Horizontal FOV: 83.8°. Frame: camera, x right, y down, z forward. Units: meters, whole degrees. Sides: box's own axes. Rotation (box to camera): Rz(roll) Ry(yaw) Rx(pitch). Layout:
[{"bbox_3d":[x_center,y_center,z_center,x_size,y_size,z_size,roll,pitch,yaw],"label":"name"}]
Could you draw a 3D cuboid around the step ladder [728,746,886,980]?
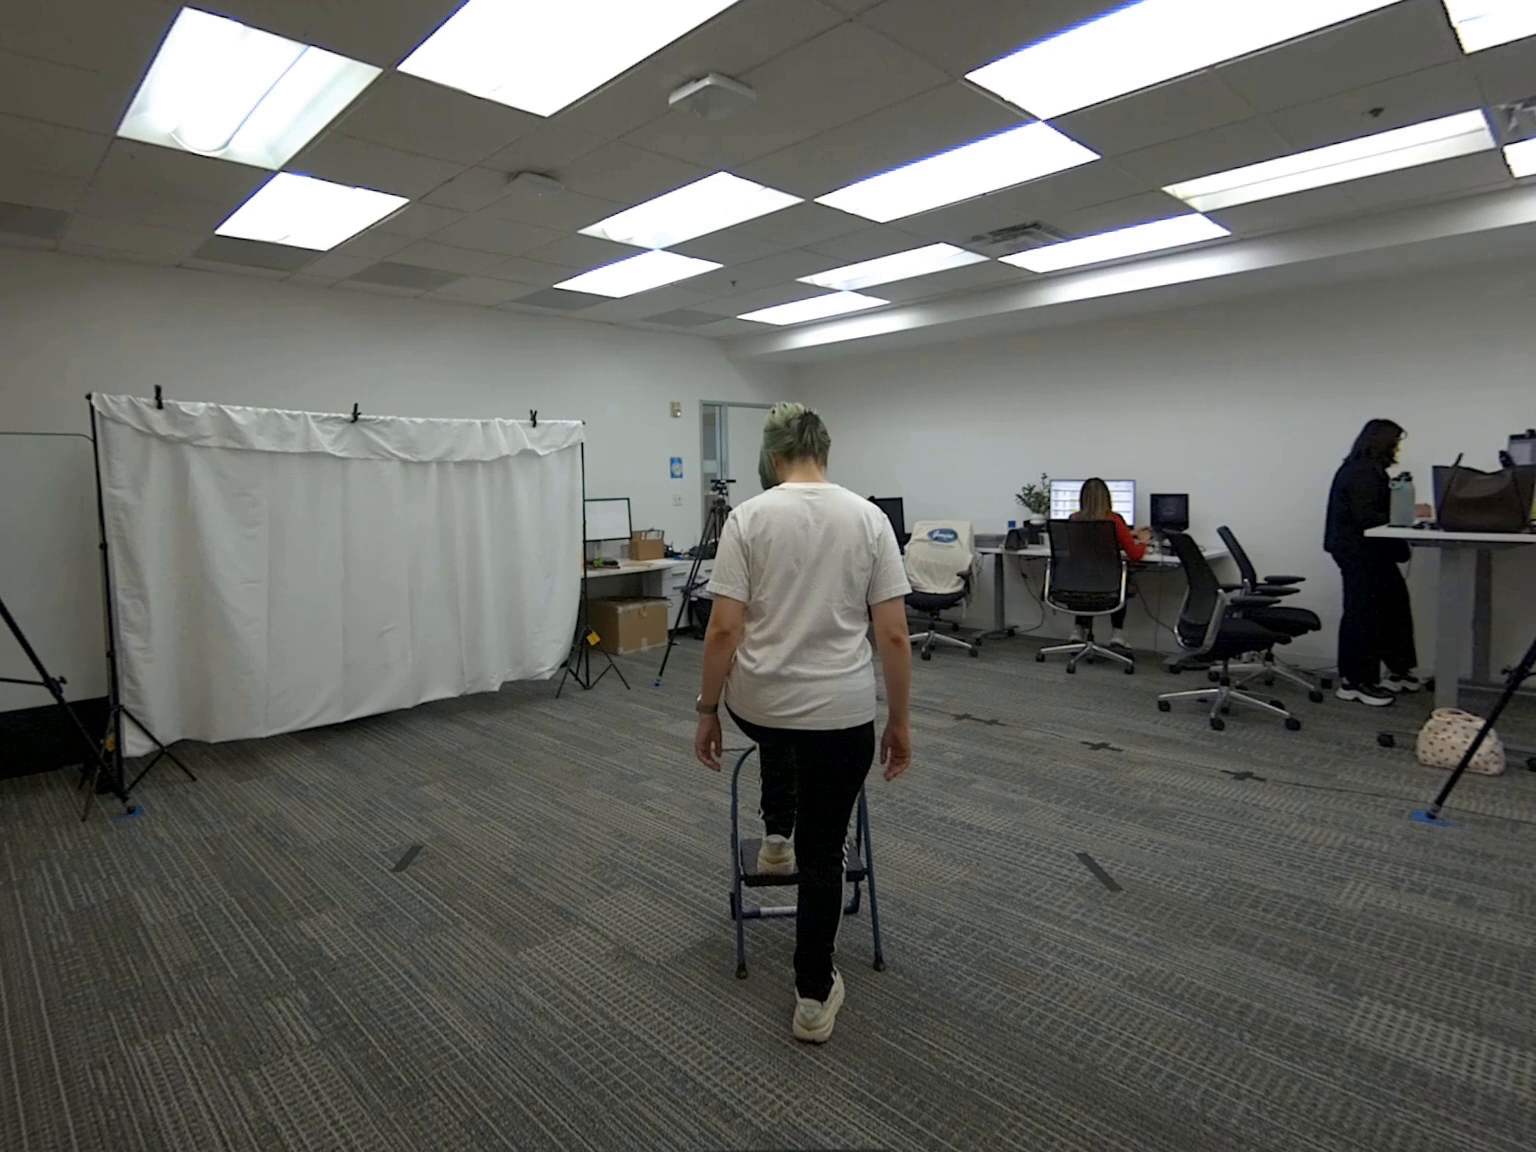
[{"bbox_3d":[0.104,0.807,2.563,0.429,0.604,0.352,-2,5,-5],"label":"step ladder"}]
